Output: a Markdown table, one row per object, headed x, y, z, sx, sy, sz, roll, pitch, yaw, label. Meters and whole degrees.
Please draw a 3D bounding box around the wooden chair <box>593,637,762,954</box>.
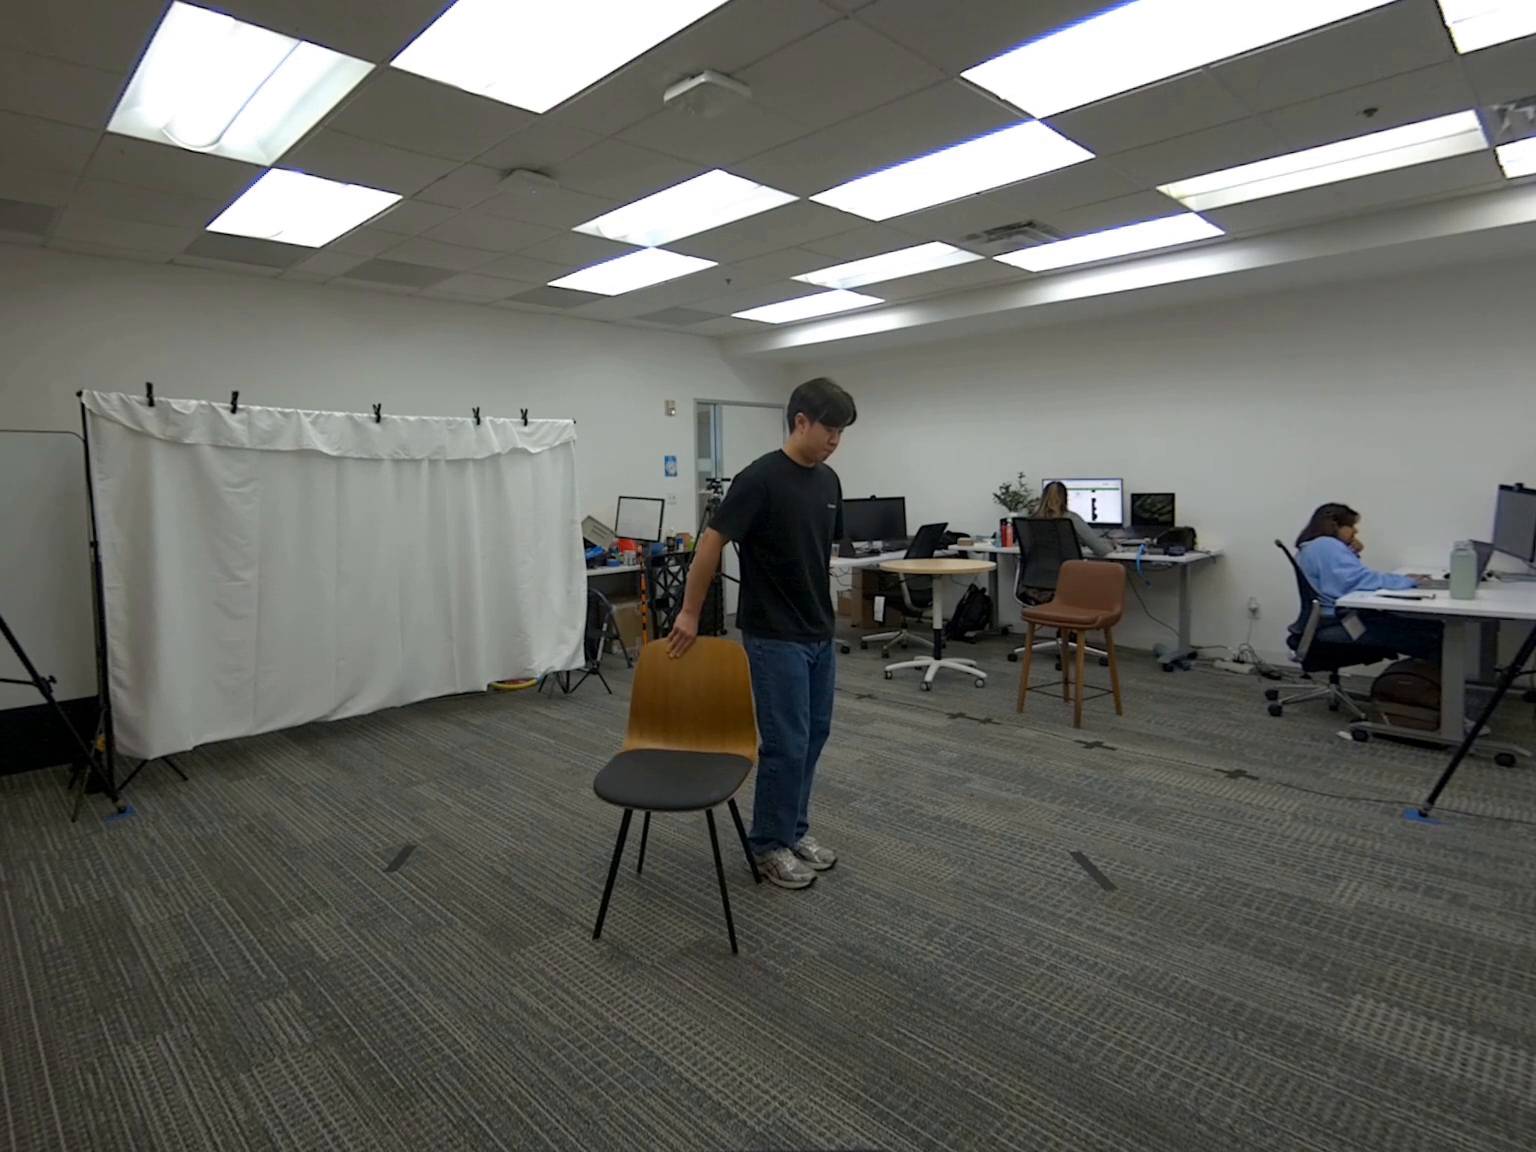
| x | y | z | sx | sy | sz | roll | pitch | yaw | label |
| --- | --- | --- | --- | --- | --- | --- | --- | --- | --- |
| -0.275 | 0.659 | 2.733 | 0.484 | 0.877 | 0.517 | 0 | 1 | 11 | wooden chair |
